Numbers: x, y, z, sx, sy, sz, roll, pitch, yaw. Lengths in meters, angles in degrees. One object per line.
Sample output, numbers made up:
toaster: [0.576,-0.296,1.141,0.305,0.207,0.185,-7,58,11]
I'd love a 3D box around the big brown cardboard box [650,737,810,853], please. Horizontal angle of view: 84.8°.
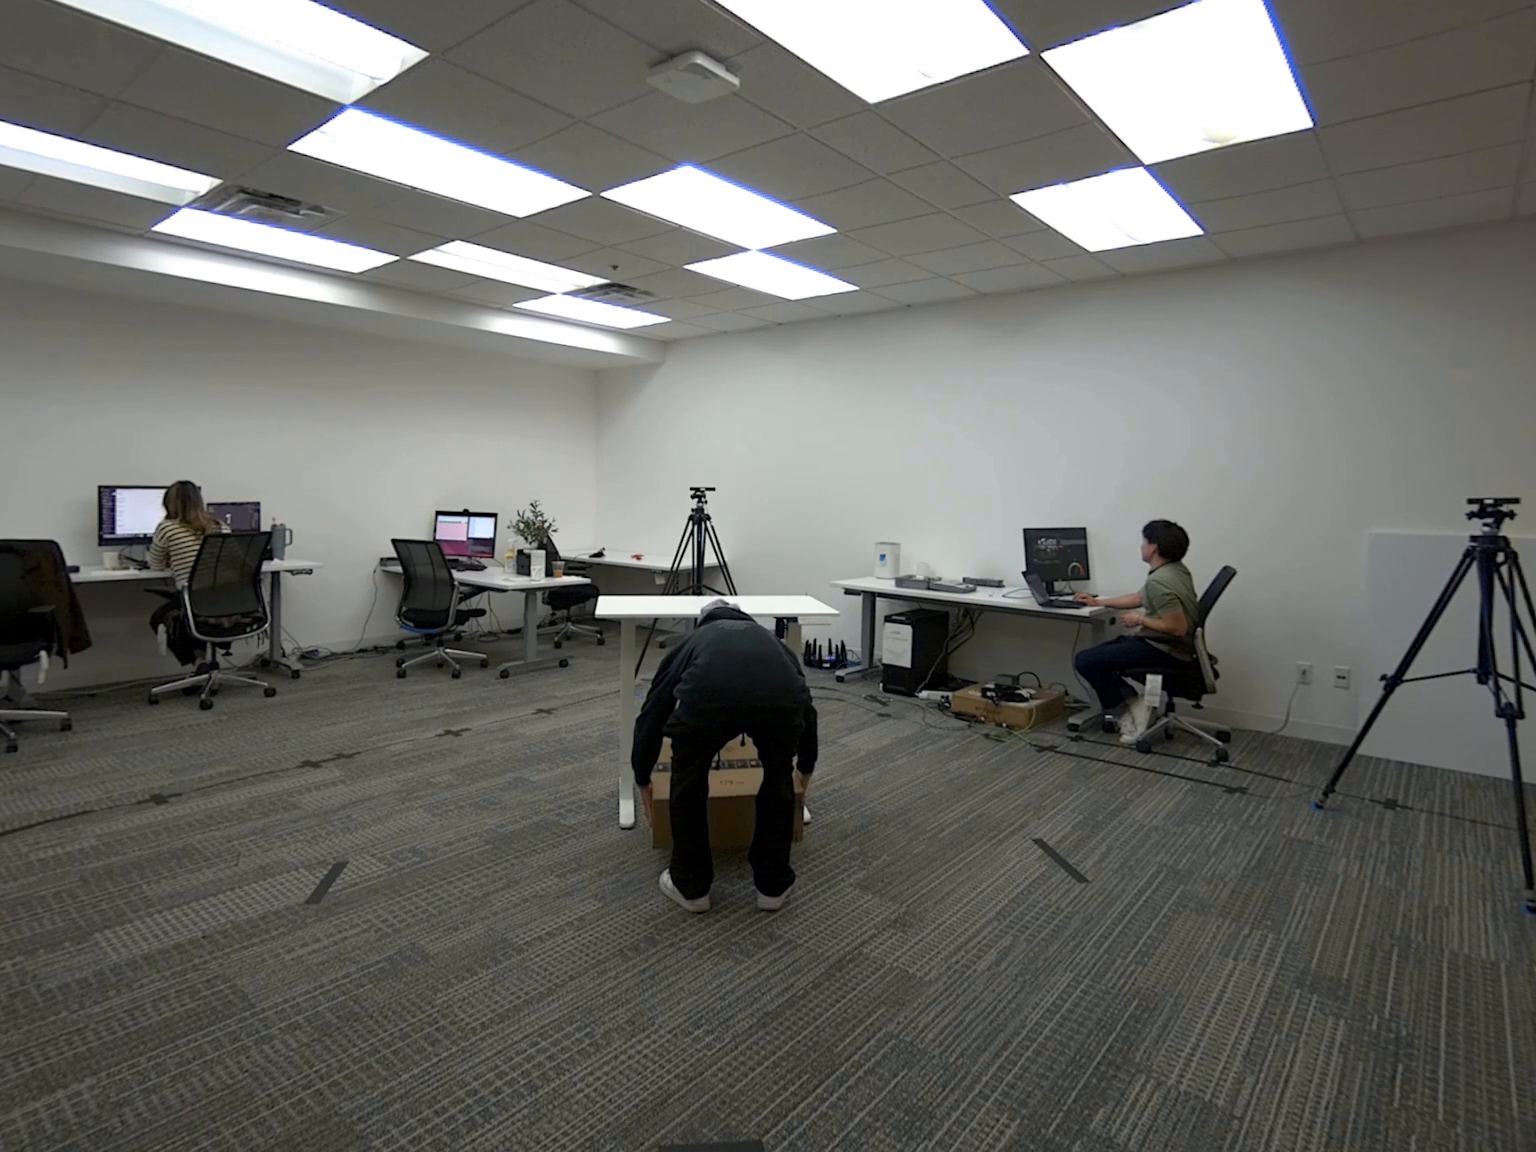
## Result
big brown cardboard box: [-0.188,0.827,3.311,0.585,0.230,0.427,0,17,-7]
